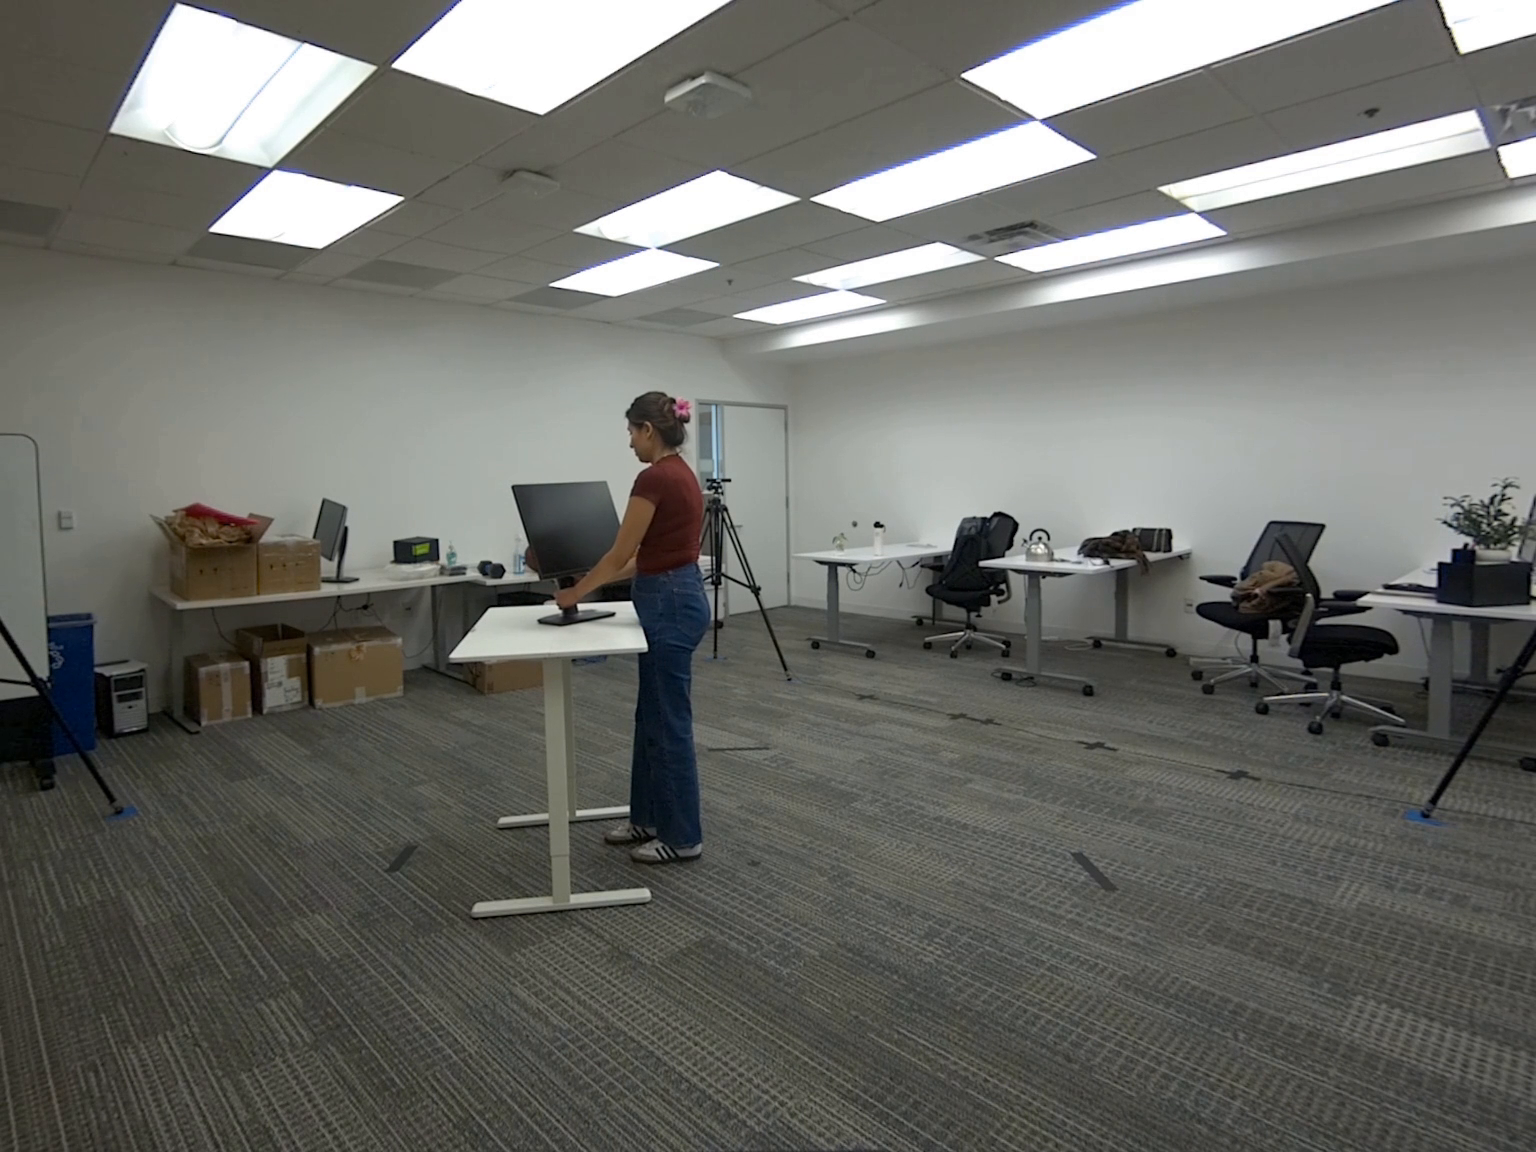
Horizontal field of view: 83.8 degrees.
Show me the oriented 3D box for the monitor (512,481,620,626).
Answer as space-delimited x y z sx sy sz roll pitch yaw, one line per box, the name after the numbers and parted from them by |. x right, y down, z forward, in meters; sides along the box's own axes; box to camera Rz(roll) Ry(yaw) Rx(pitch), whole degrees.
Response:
-0.742 -0.094 3.228 0.191 0.521 0.529 -4 4 26 | monitor
